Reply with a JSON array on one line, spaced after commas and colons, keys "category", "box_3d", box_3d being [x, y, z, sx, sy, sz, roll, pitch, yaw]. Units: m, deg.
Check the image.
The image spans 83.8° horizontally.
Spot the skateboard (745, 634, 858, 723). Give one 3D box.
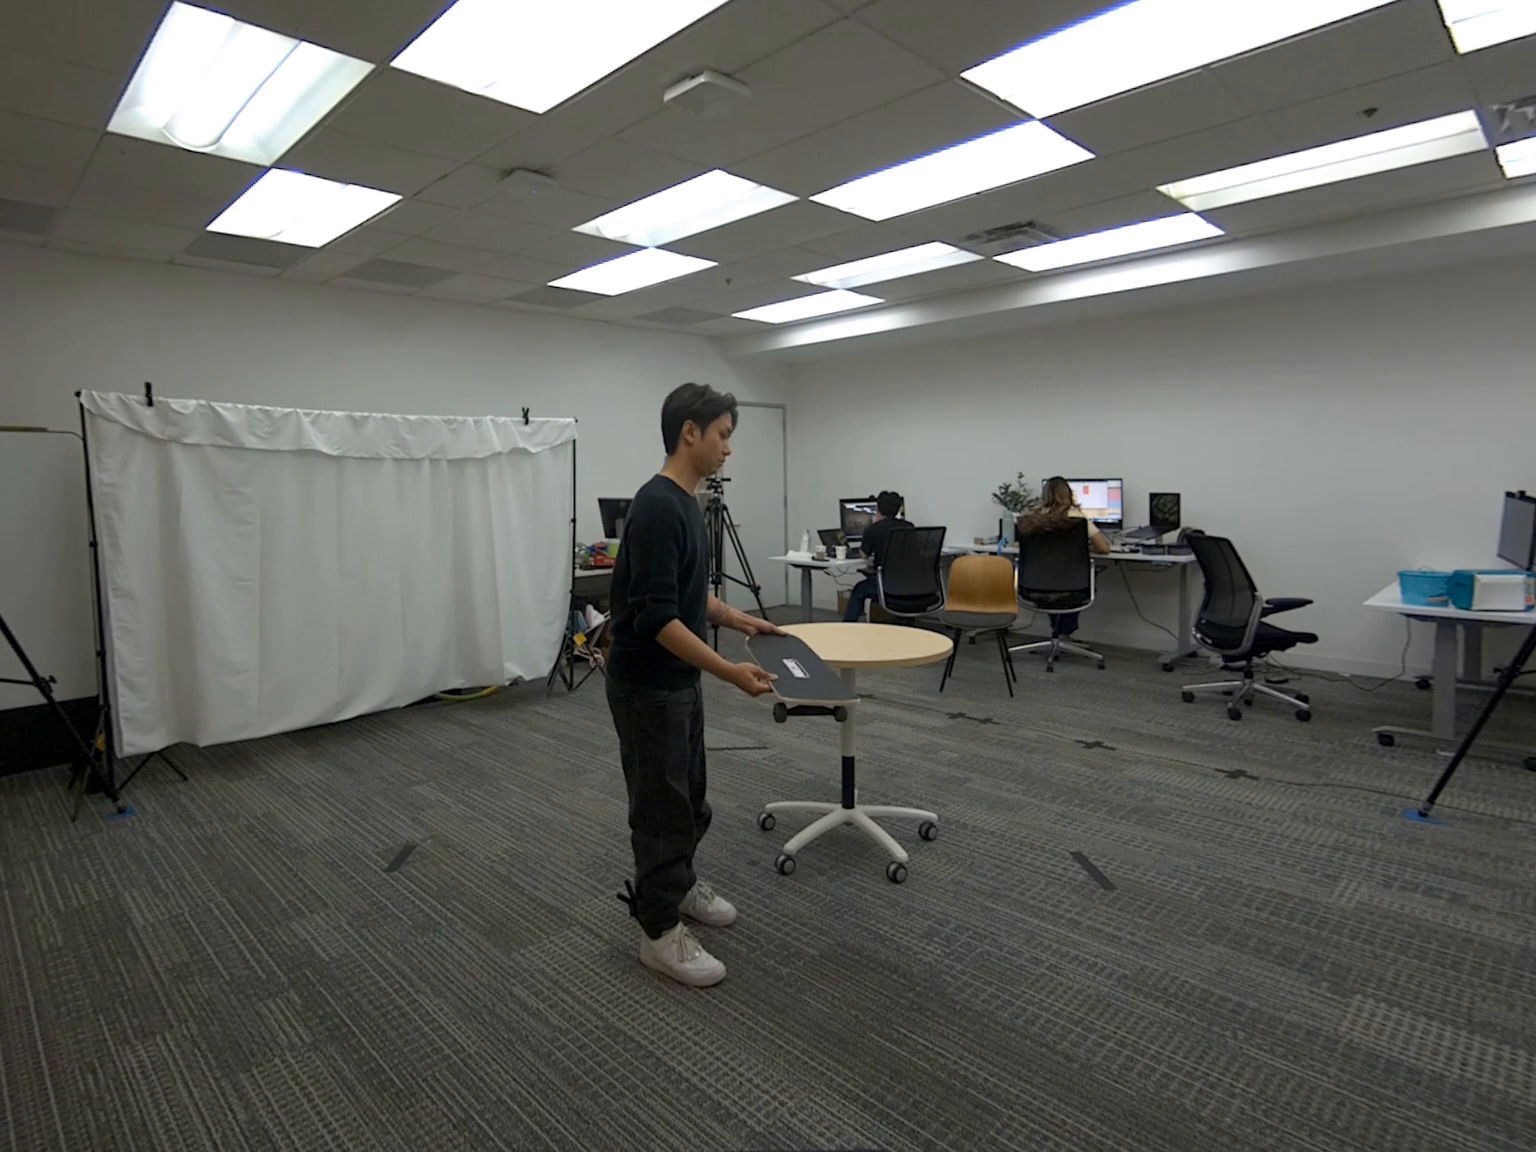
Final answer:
[{"category": "skateboard", "box_3d": [0.065, 0.281, 2.324, 0.192, 0.110, 0.796, 1, 7, -9]}]
